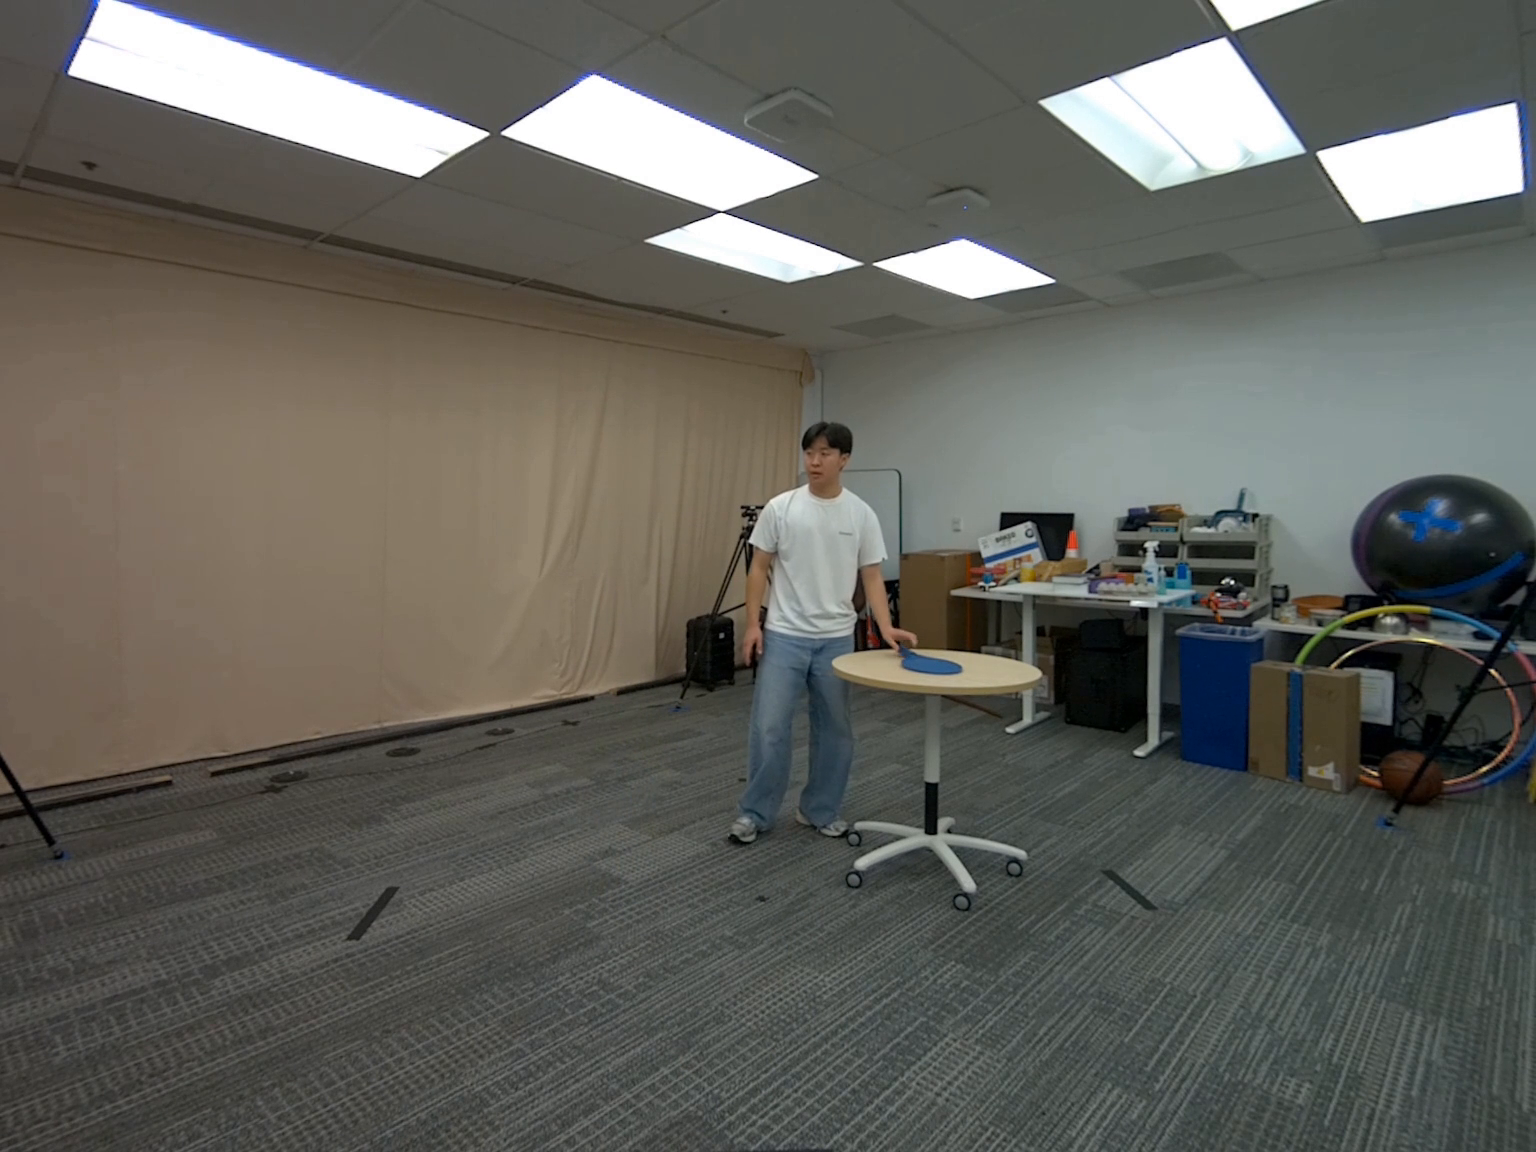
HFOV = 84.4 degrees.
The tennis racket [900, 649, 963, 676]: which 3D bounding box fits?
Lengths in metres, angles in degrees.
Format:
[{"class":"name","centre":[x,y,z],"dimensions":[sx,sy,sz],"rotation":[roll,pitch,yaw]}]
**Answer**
[{"class":"tennis racket","centre":[0.588,0.329,3.233],"dimensions":[0.211,0.031,0.440],"rotation":[-1,6,-13]}]
